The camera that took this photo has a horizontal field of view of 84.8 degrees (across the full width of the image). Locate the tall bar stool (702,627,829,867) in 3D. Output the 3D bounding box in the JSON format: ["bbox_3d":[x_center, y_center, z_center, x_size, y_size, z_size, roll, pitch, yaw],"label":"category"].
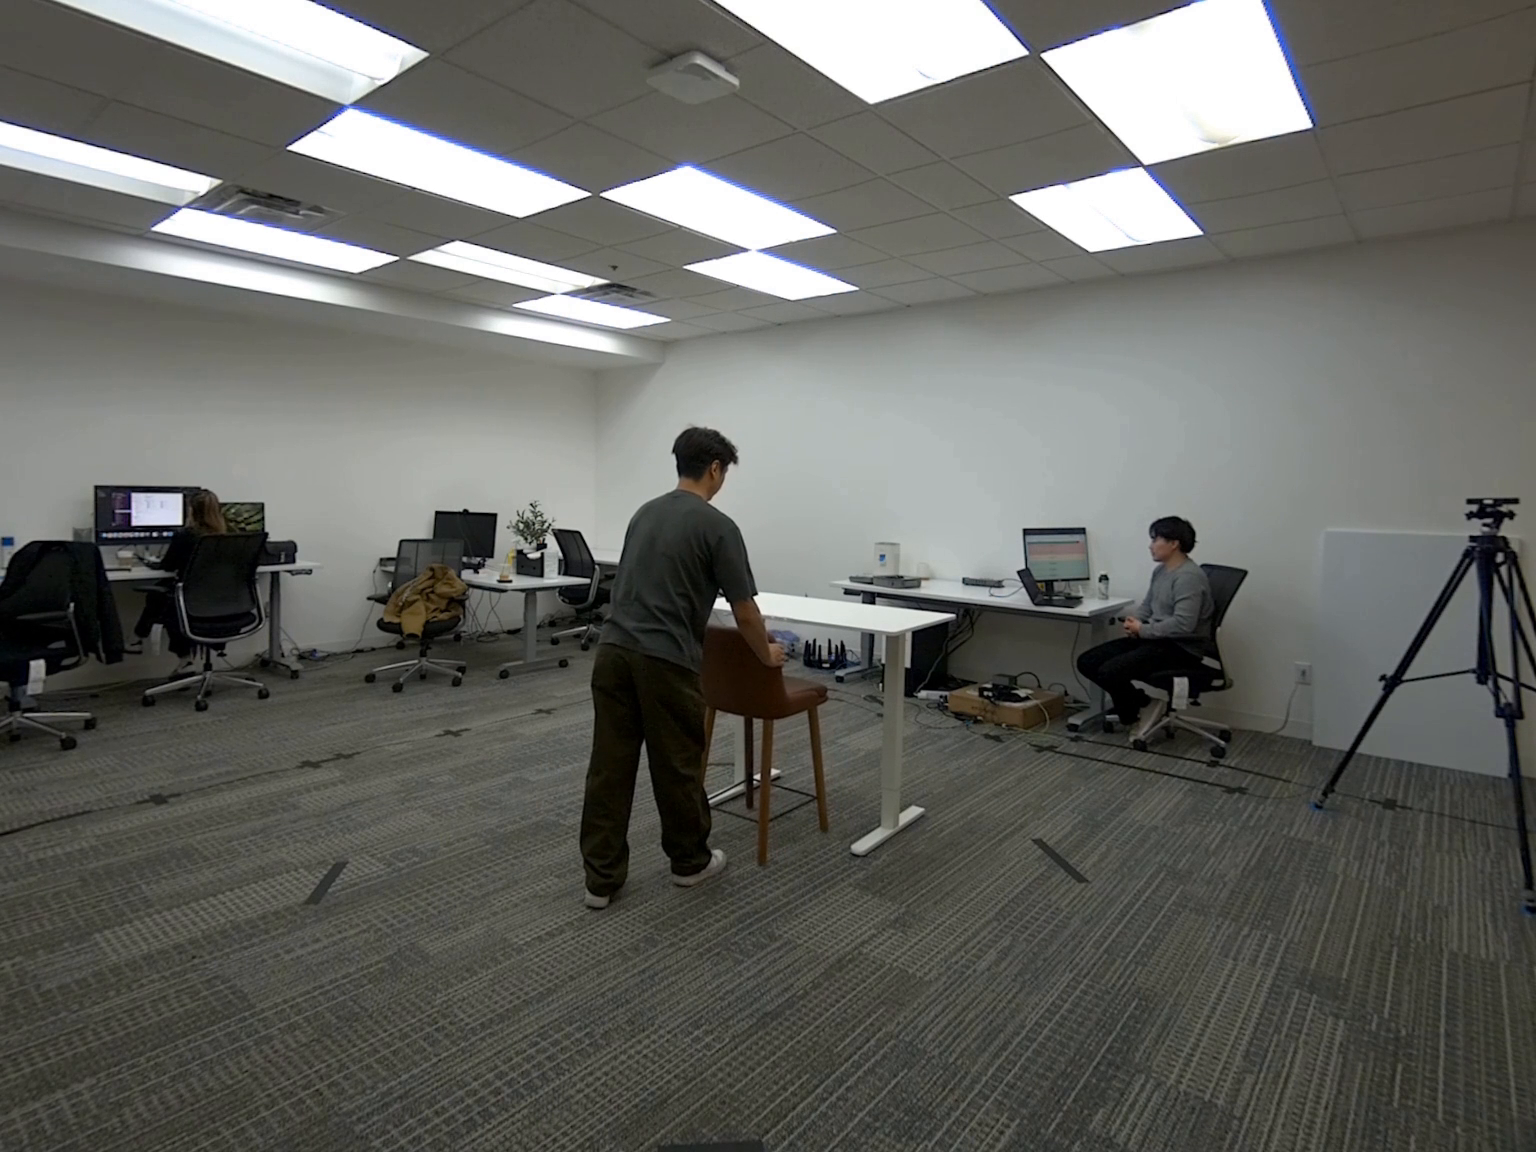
[{"bbox_3d":[-0.050,0.599,3.395,0.471,0.885,0.455,4,7,36],"label":"tall bar stool"}]
